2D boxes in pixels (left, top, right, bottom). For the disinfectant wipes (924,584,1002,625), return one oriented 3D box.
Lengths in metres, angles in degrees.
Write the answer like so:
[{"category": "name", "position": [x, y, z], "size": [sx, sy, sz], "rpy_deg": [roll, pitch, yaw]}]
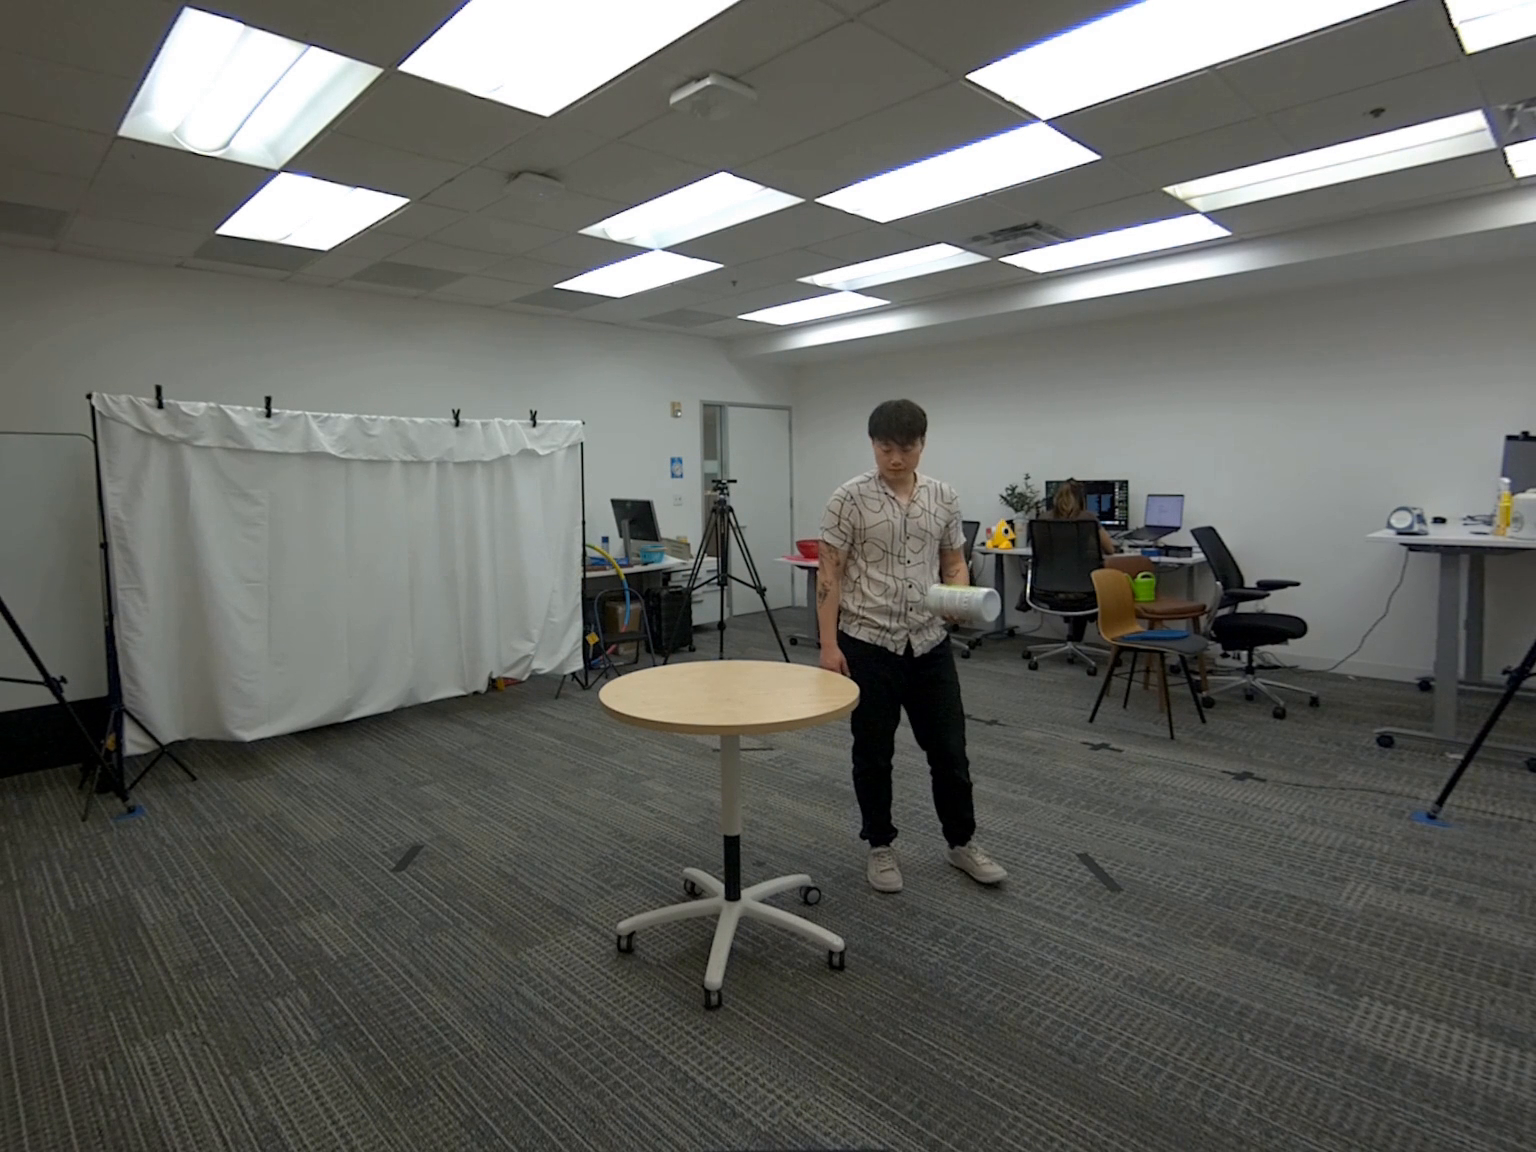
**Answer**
[{"category": "disinfectant wipes", "position": [0.616, 0.085, 2.745], "size": [0.115, 0.117, 0.224], "rpy_deg": [-5, 5, -39]}]
